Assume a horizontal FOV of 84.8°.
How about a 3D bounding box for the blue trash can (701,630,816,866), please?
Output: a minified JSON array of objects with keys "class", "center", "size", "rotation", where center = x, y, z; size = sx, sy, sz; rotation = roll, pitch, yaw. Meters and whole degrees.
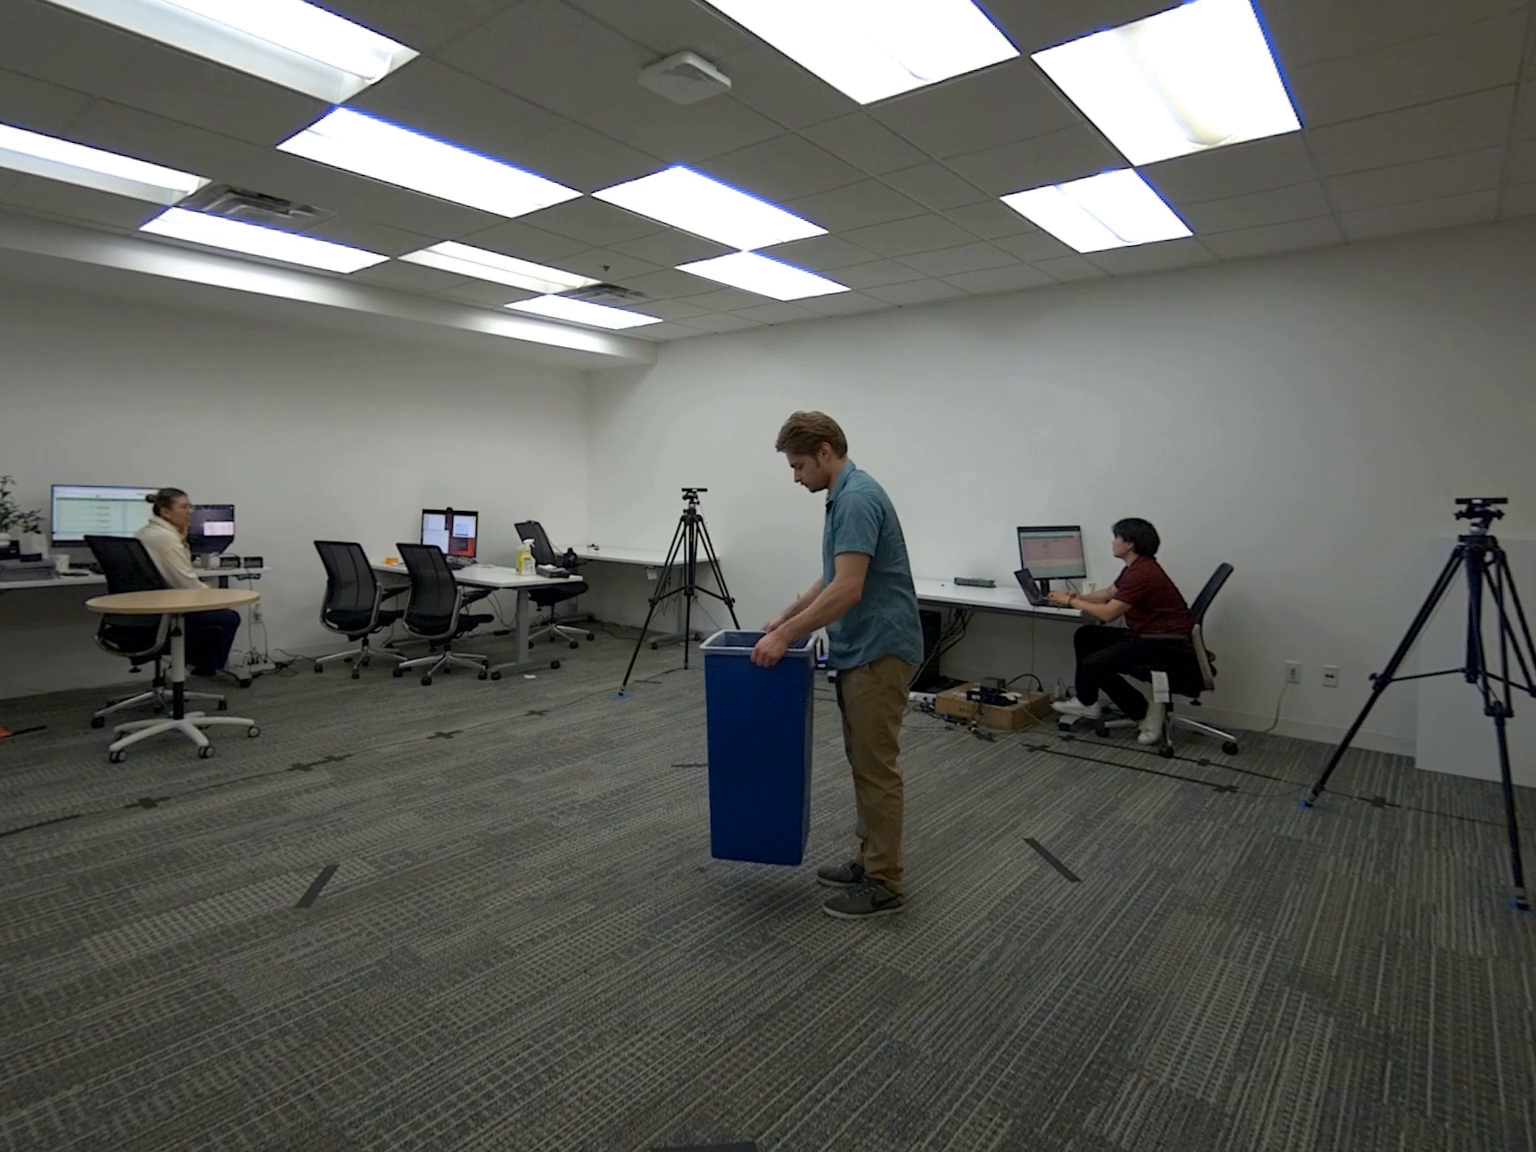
[{"class":"blue trash can","center":[-0.038,0.575,2.930],"size":[0.382,0.711,0.371],"rotation":[1,4,9]}]
